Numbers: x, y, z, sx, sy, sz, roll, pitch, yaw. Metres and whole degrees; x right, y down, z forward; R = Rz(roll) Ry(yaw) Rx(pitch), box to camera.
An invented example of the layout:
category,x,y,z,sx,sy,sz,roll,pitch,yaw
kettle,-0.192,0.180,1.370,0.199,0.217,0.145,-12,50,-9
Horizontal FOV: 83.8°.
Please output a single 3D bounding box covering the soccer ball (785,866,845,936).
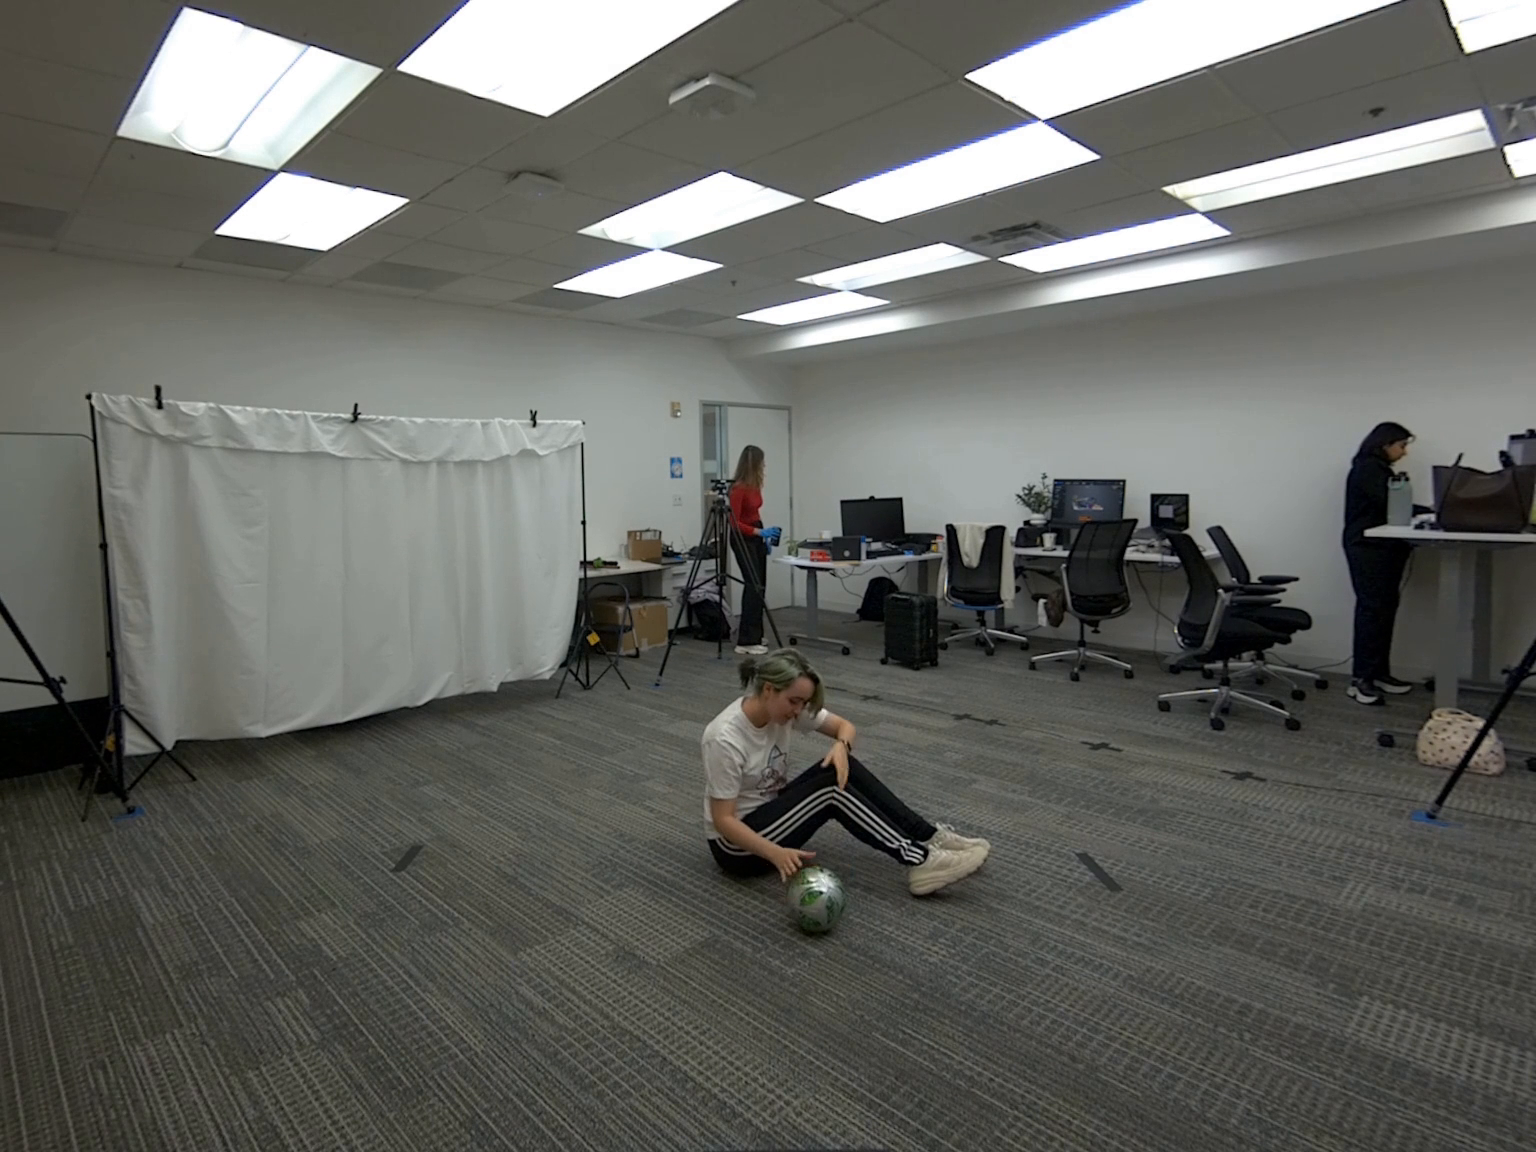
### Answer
category,x,y,z,sx,sy,sz,roll,pitch,yaw
soccer ball,0.149,1.005,2.648,0.187,0.187,0.188,-1,5,-2
